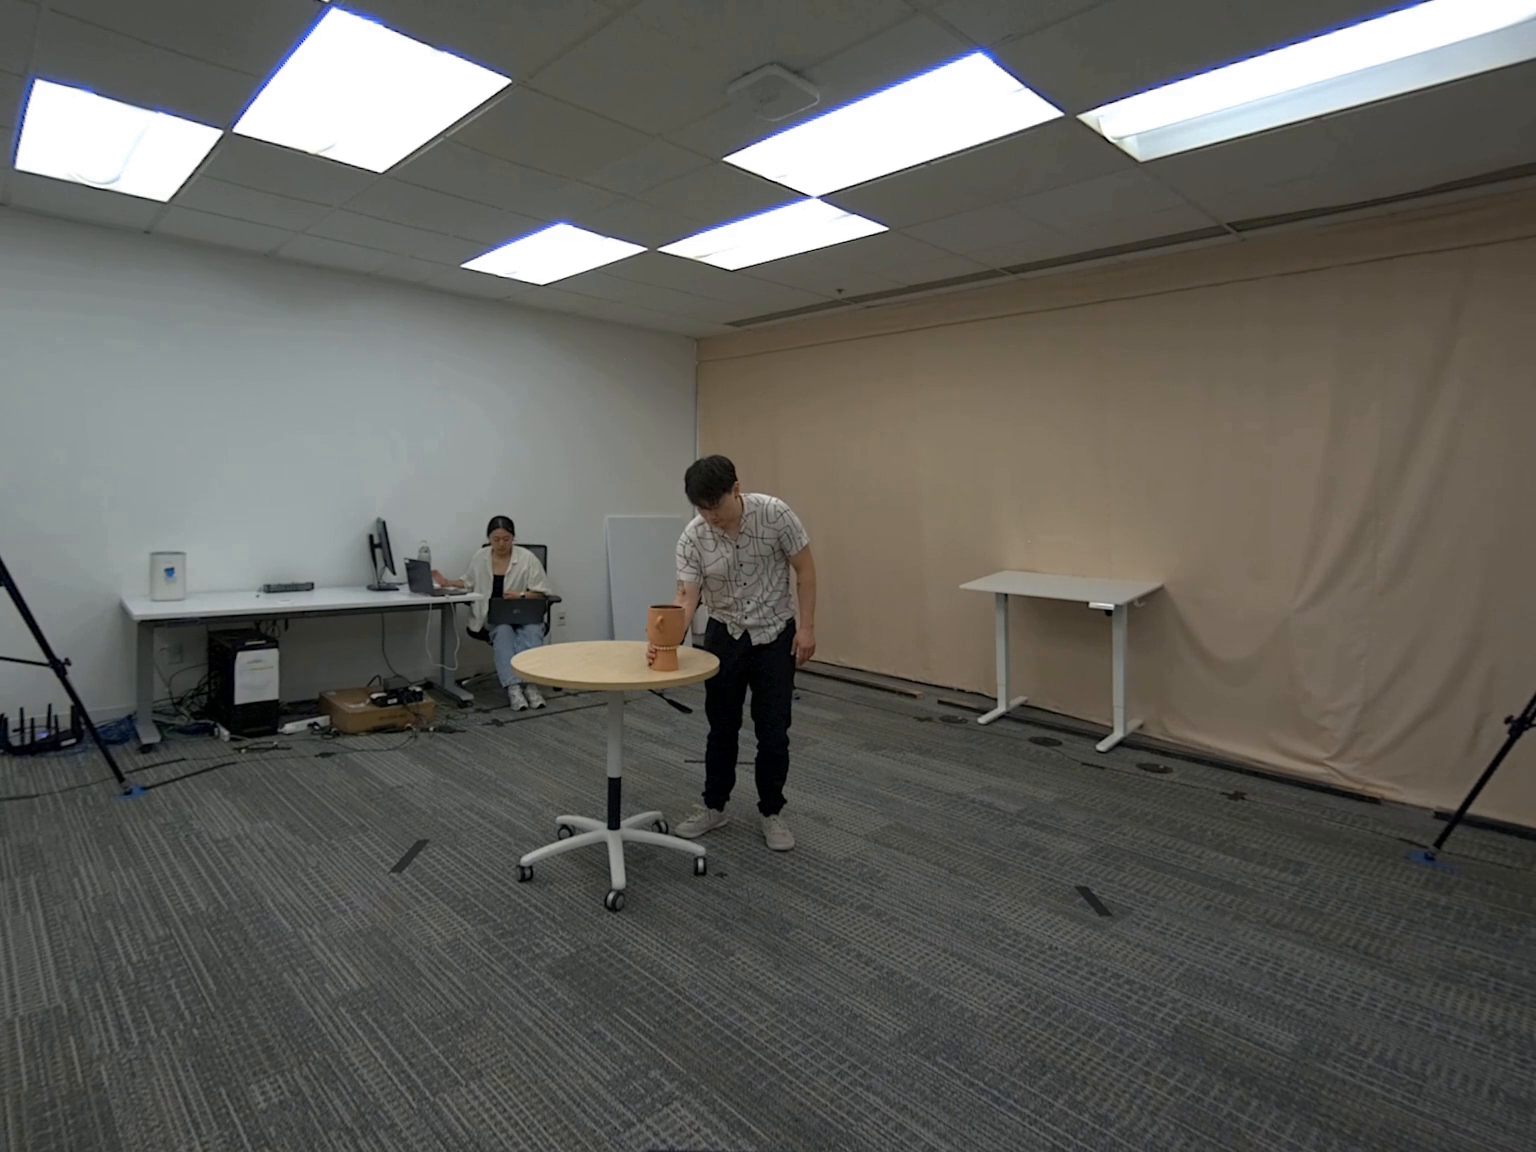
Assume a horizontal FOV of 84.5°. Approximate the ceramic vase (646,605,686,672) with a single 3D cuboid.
[{"bbox_3d":[-0.378,0.220,2.975,0.155,0.219,0.138,-1,5,-39],"label":"ceramic vase"}]
